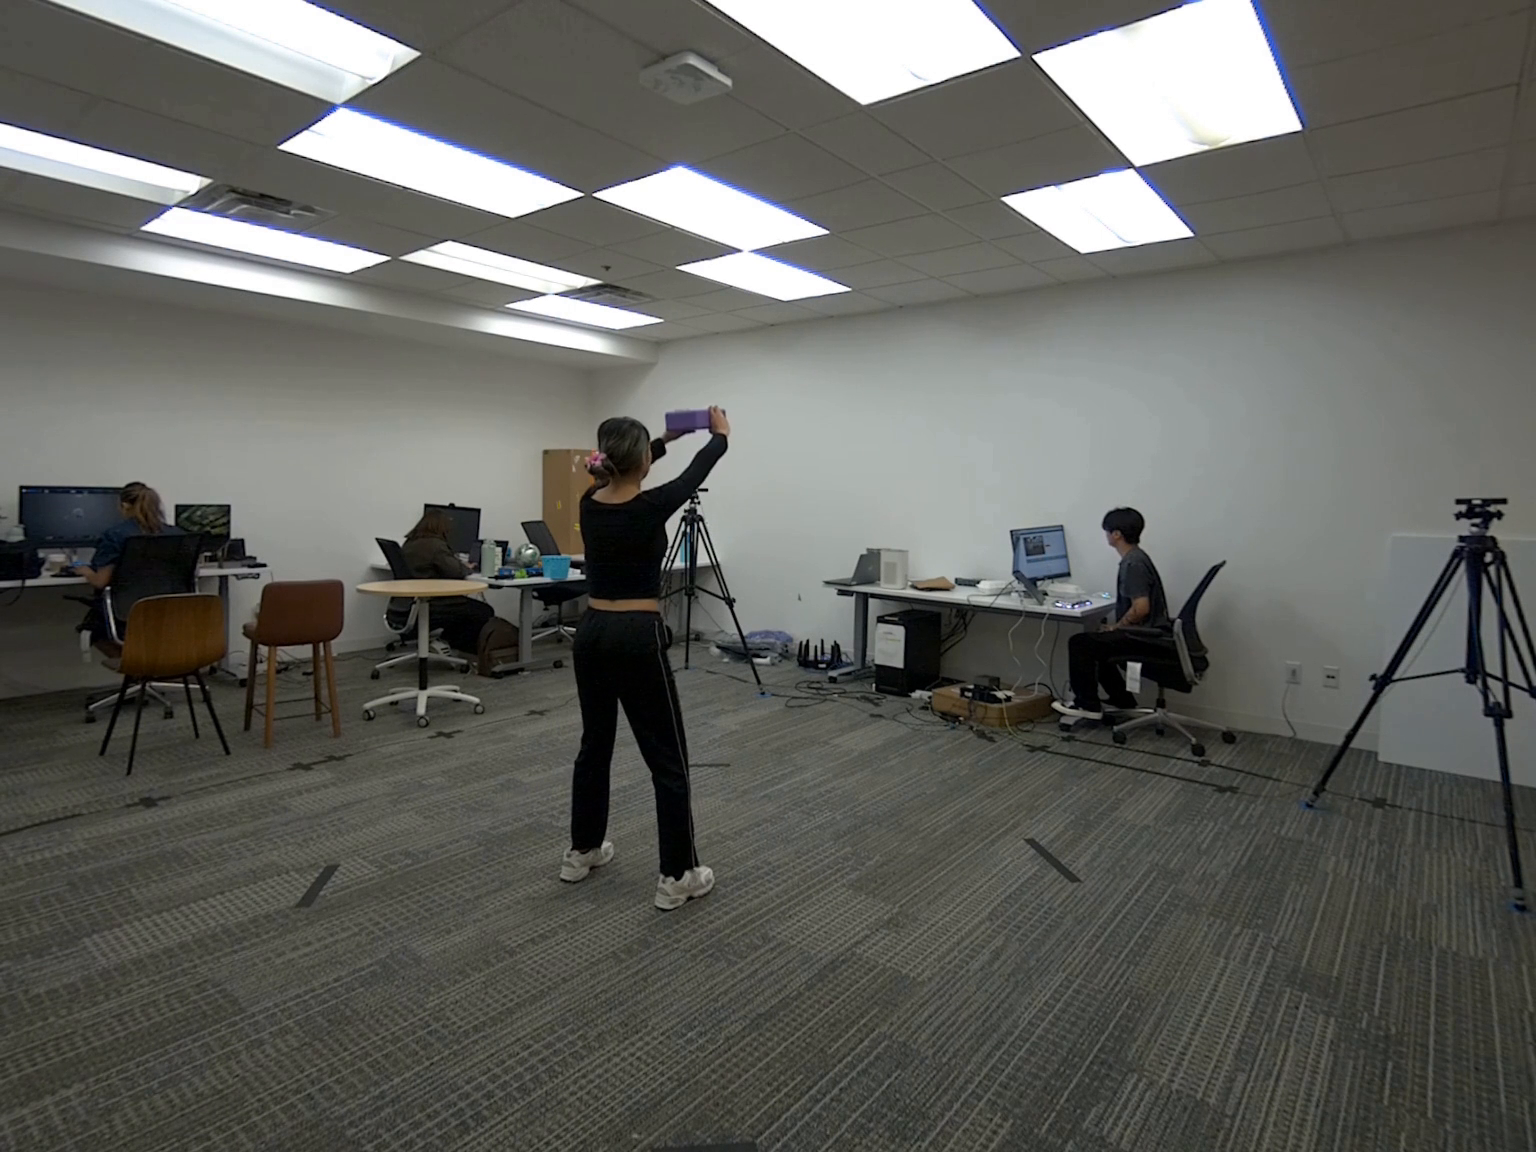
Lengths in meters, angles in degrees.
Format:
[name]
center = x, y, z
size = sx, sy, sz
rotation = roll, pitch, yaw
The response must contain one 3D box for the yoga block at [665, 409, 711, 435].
[yoga block]
center = -0.298, -0.617, 3.353
size = 0.153, 0.076, 0.226
rotation = 1, 11, 24
